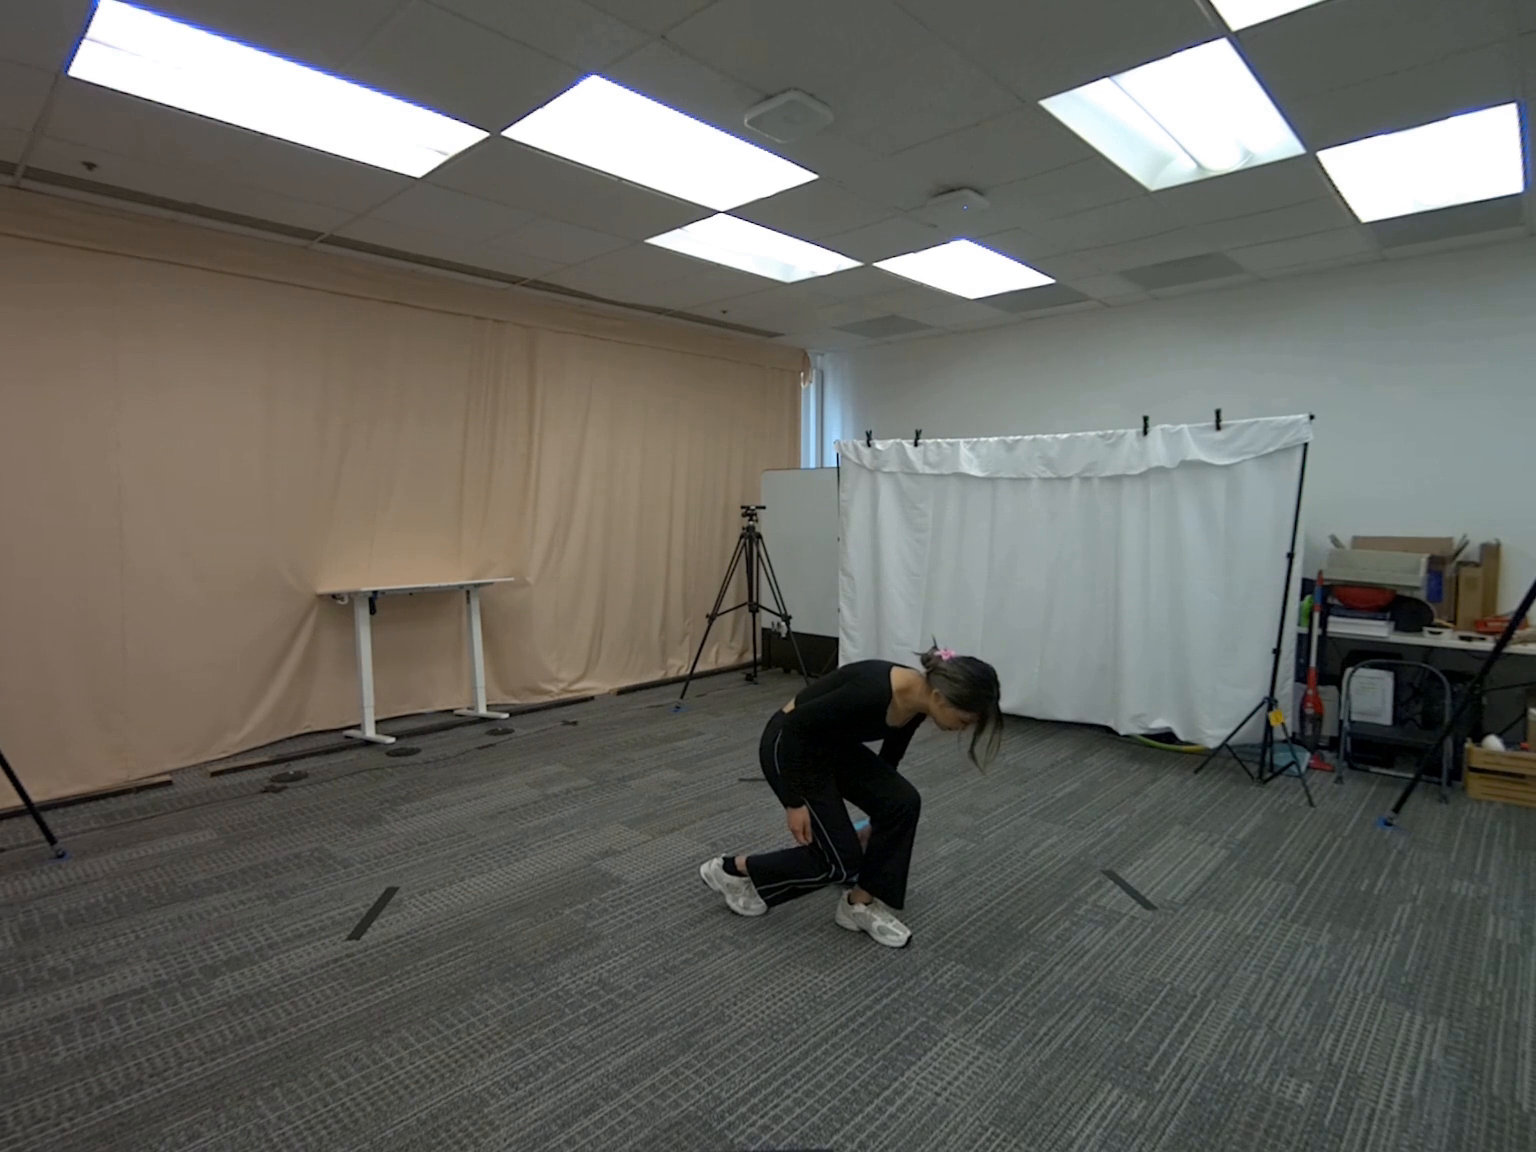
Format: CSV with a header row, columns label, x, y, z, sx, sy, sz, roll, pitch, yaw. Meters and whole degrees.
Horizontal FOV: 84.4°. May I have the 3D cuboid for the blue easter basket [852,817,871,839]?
label,x,y,z,sx,sy,sz,roll,pitch,yaw
blue easter basket,0.332,1.021,3.125,0.157,0.243,0.241,-7,2,10
